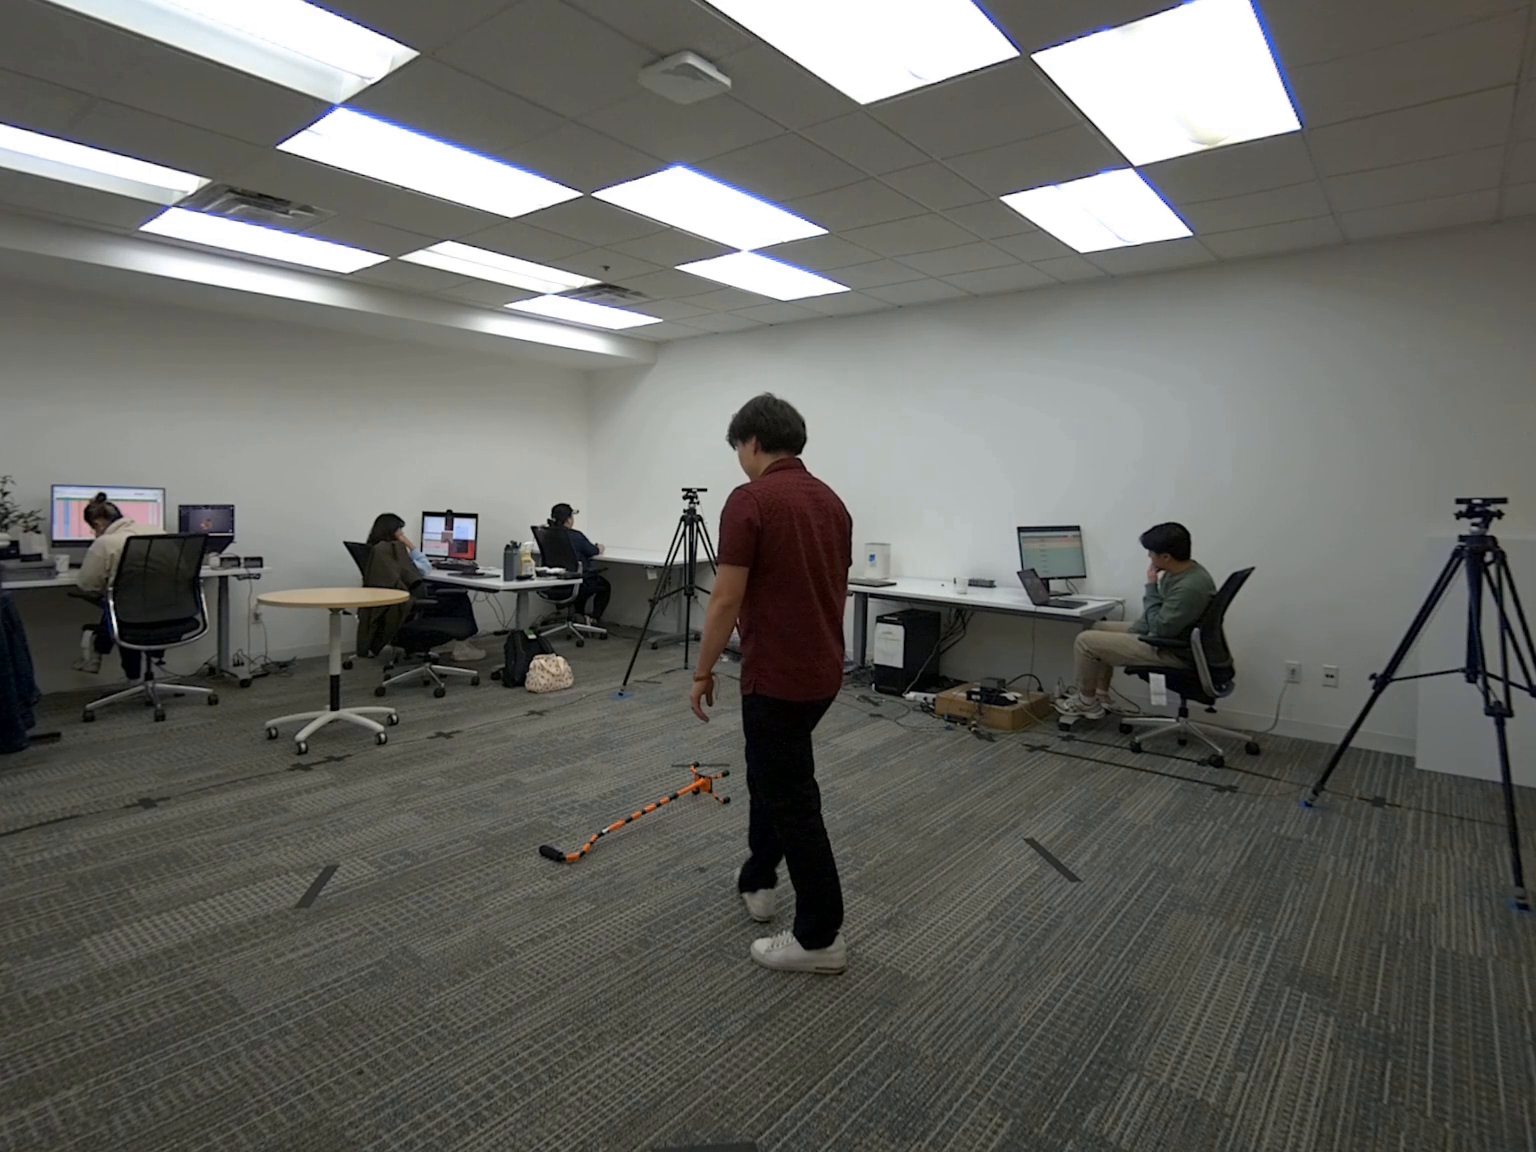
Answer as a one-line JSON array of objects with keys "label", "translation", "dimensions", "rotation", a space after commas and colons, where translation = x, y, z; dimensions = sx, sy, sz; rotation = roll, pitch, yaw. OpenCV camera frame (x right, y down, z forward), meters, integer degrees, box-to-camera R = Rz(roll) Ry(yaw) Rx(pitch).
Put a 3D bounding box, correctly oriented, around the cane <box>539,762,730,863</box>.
[{"label": "cane", "translation": [-0.530, 0.982, 3.491], "dimensions": [0.213, 0.150, 0.885], "rotation": [4, 10, 38]}]
